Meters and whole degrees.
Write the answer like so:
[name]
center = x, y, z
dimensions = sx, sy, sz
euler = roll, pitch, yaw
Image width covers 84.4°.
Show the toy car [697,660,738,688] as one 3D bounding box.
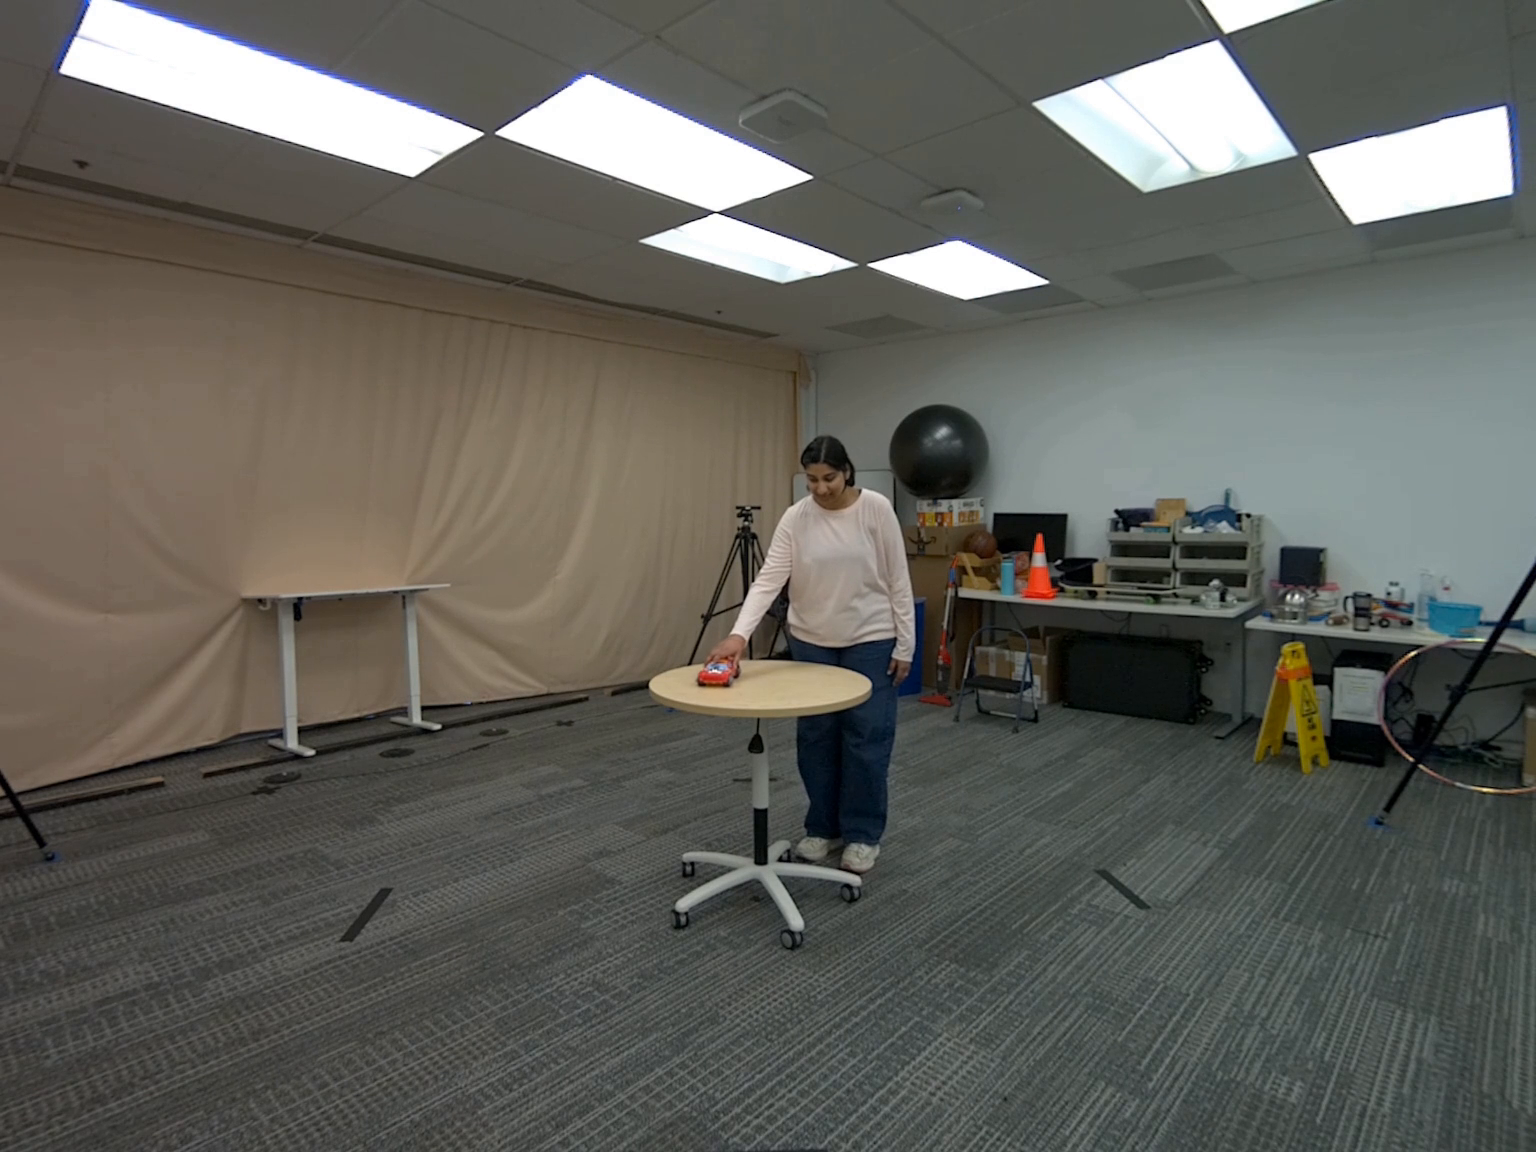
[toy car]
center = -0.163, 0.335, 2.946
dimensions = 0.131, 0.082, 0.254
euler = -2, 16, 8
